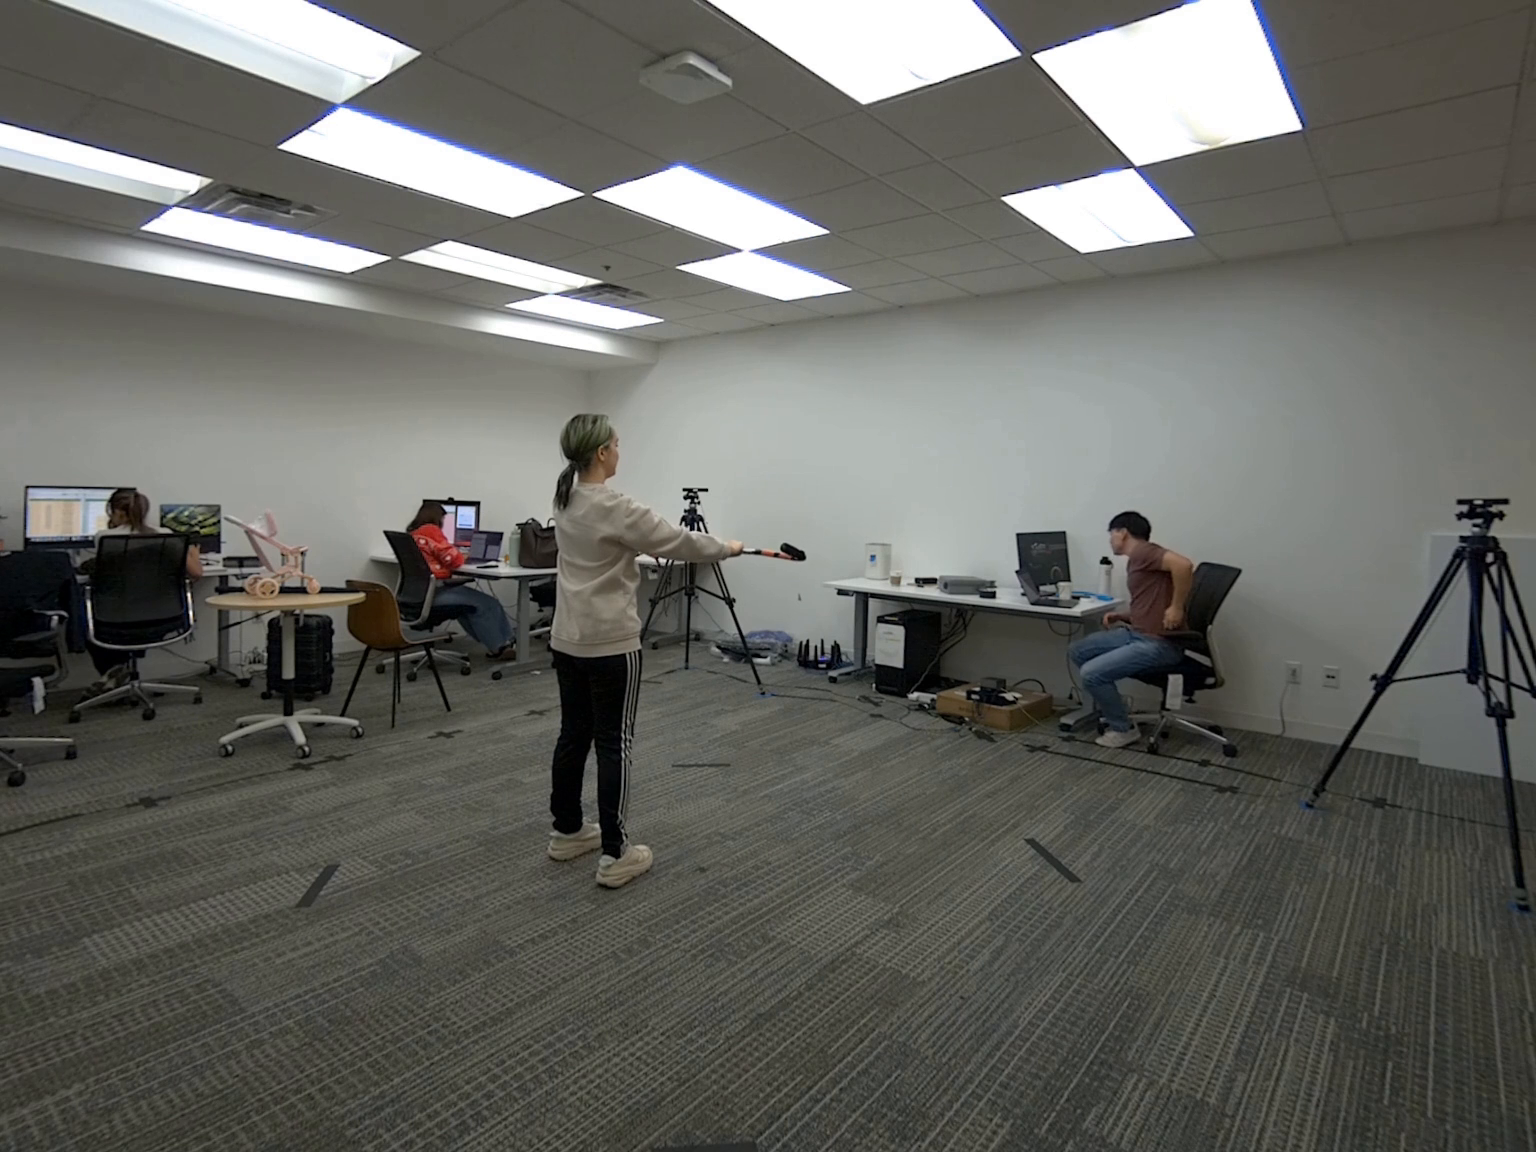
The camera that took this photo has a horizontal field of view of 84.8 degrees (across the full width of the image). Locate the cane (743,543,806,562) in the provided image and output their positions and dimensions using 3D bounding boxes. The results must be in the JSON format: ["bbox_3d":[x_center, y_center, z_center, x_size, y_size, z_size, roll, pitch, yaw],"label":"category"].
[{"bbox_3d":[-0.221,-0.102,3.433,0.939,0.153,0.198,5,-14,46],"label":"cane"}]
